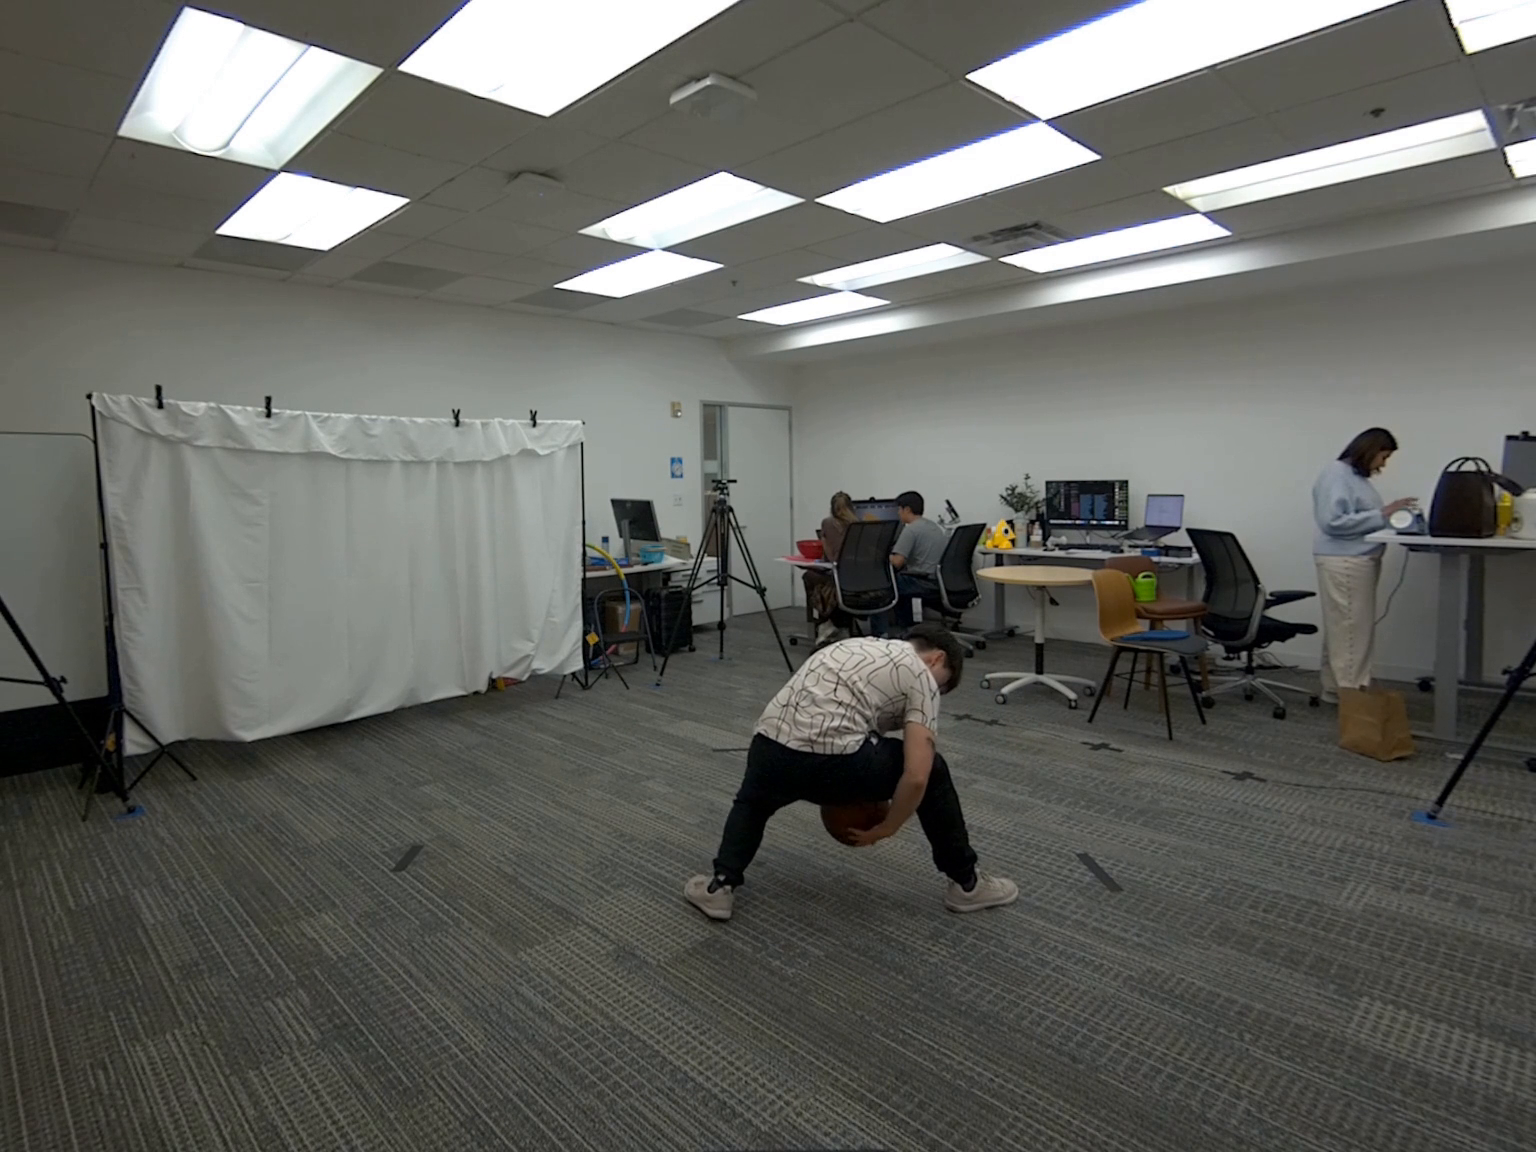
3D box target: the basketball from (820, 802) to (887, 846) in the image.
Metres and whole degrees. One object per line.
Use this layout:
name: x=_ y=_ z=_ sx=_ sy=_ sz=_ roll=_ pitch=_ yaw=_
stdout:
basketball: x=0.312 y=0.789 z=2.905 sx=0.236 sy=0.235 sz=0.237 roll=-1 pitch=5 yaw=-2
